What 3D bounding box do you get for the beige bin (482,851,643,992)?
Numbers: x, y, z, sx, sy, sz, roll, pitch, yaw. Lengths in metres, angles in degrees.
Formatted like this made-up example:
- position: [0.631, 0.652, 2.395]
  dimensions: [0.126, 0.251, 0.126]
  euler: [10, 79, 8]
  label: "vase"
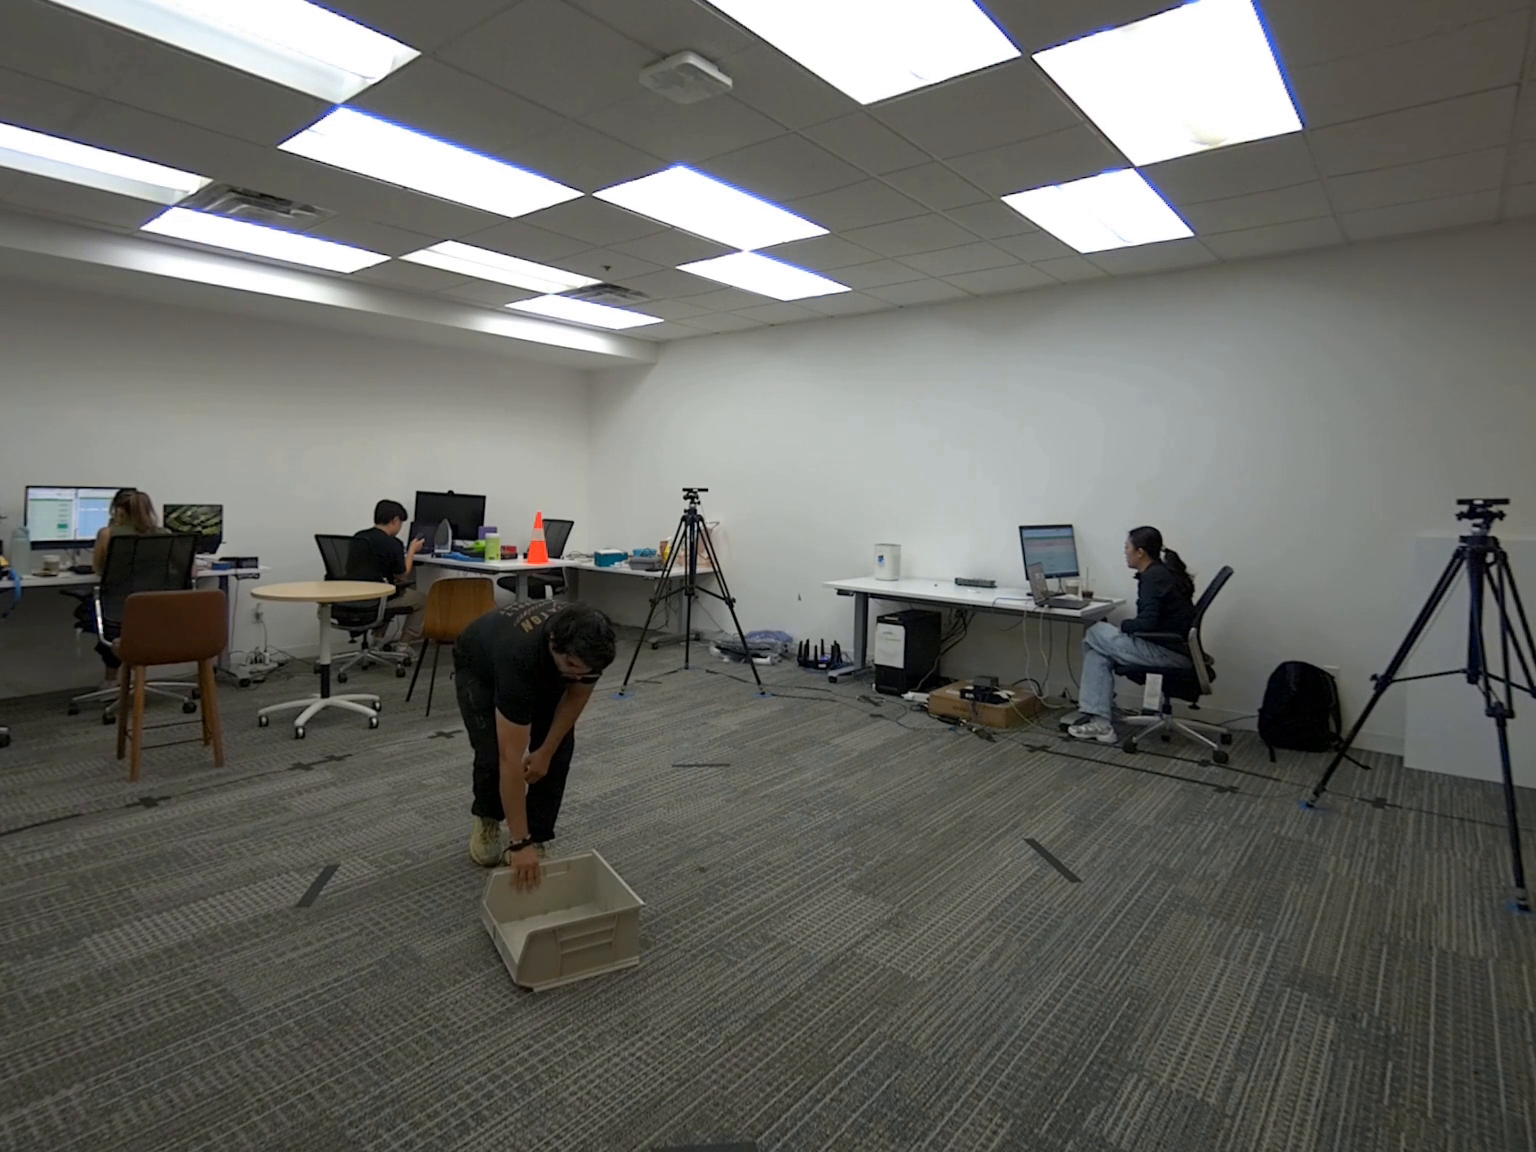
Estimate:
- position: [-0.641, 1.026, 2.569]
  dimensions: [0.367, 0.188, 0.435]
  euler: [-1, 5, -31]
  label: "beige bin"
